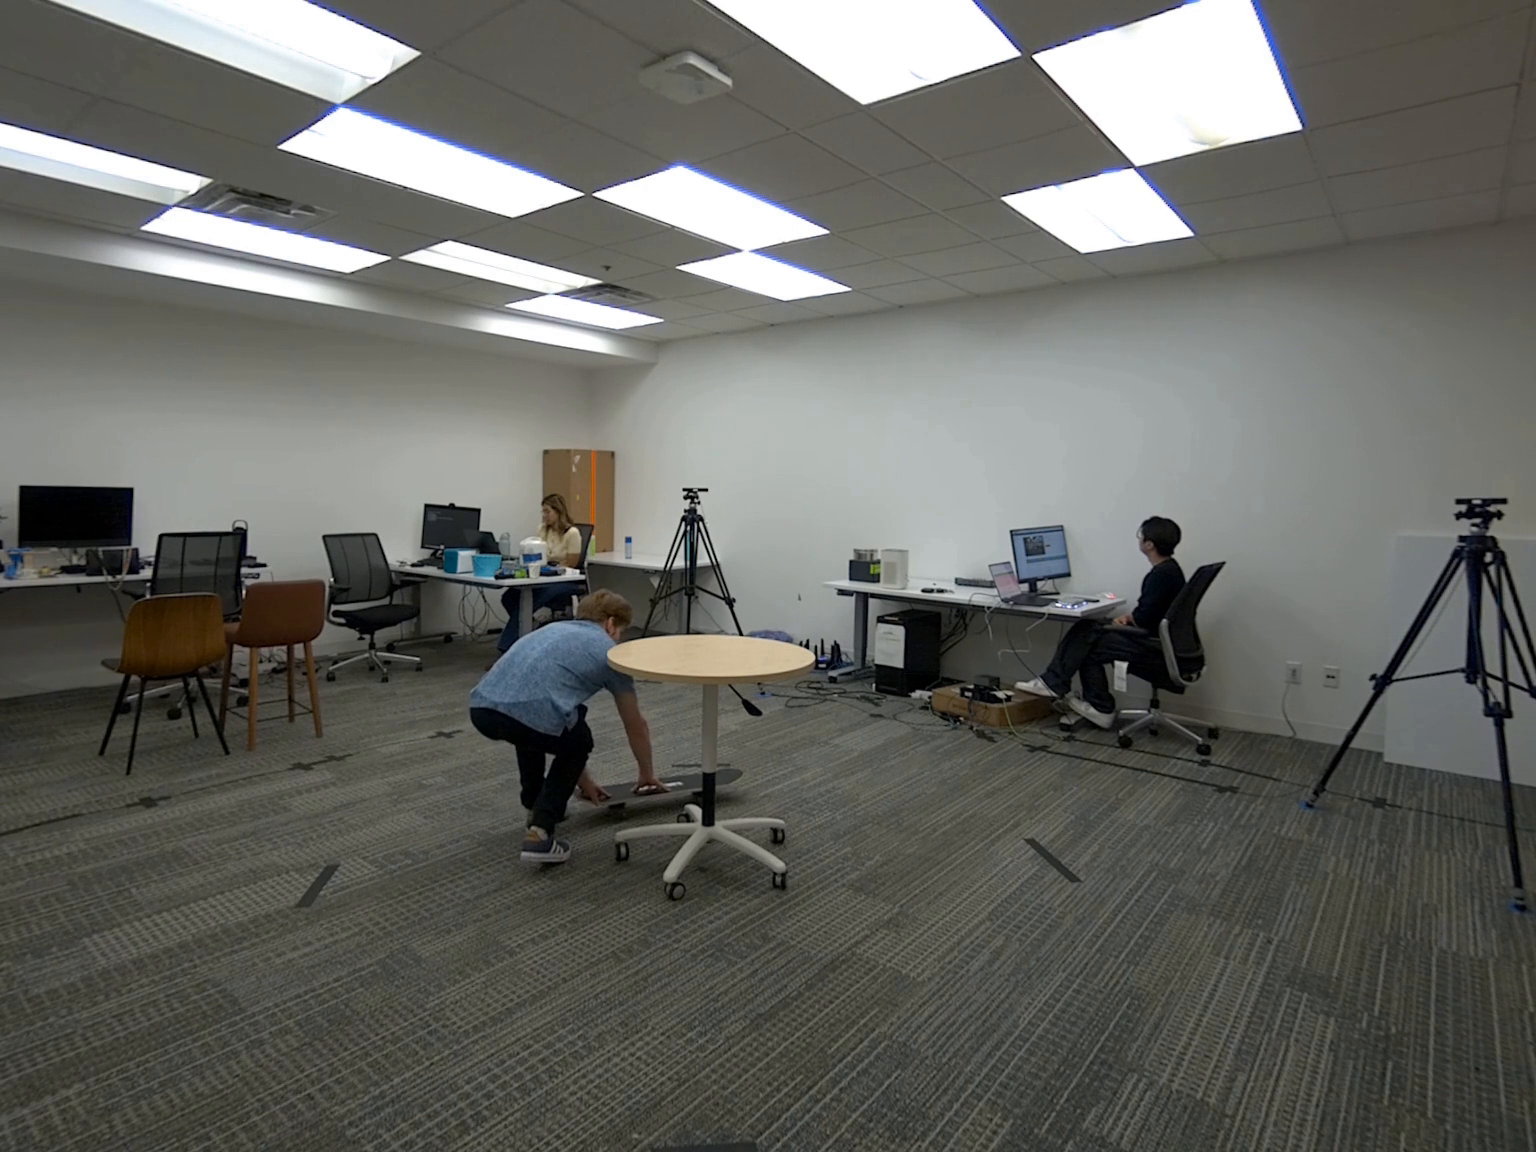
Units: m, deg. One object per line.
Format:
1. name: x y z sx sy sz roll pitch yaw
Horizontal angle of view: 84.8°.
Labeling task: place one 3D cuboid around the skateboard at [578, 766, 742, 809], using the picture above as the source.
1. skateboard: -0.481 0.948 3.724 0.767 0.110 0.199 -2 6 -25
